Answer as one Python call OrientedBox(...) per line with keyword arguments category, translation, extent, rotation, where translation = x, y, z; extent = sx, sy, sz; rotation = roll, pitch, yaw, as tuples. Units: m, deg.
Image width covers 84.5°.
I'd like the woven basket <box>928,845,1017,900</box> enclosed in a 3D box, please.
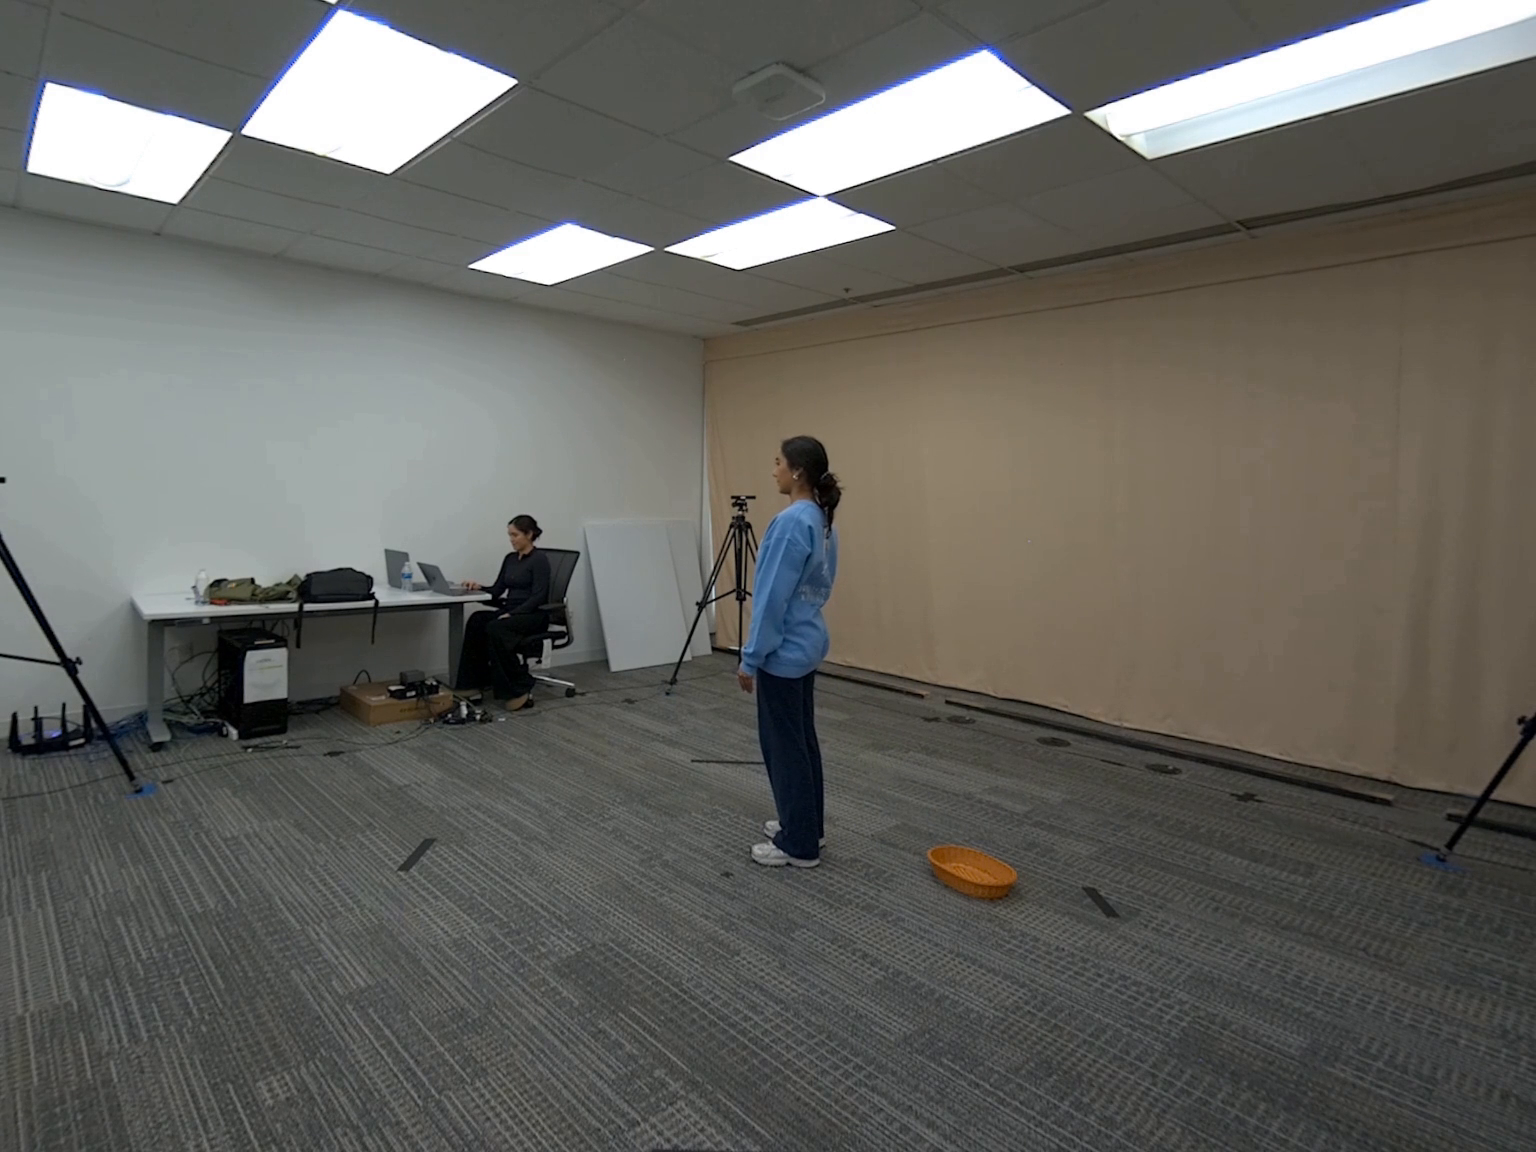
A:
OrientedBox(category="woven basket", translation=(0.731, 1.087, 3.088), extent=(0.247, 0.073, 0.359), rotation=(0, 5, -32))
